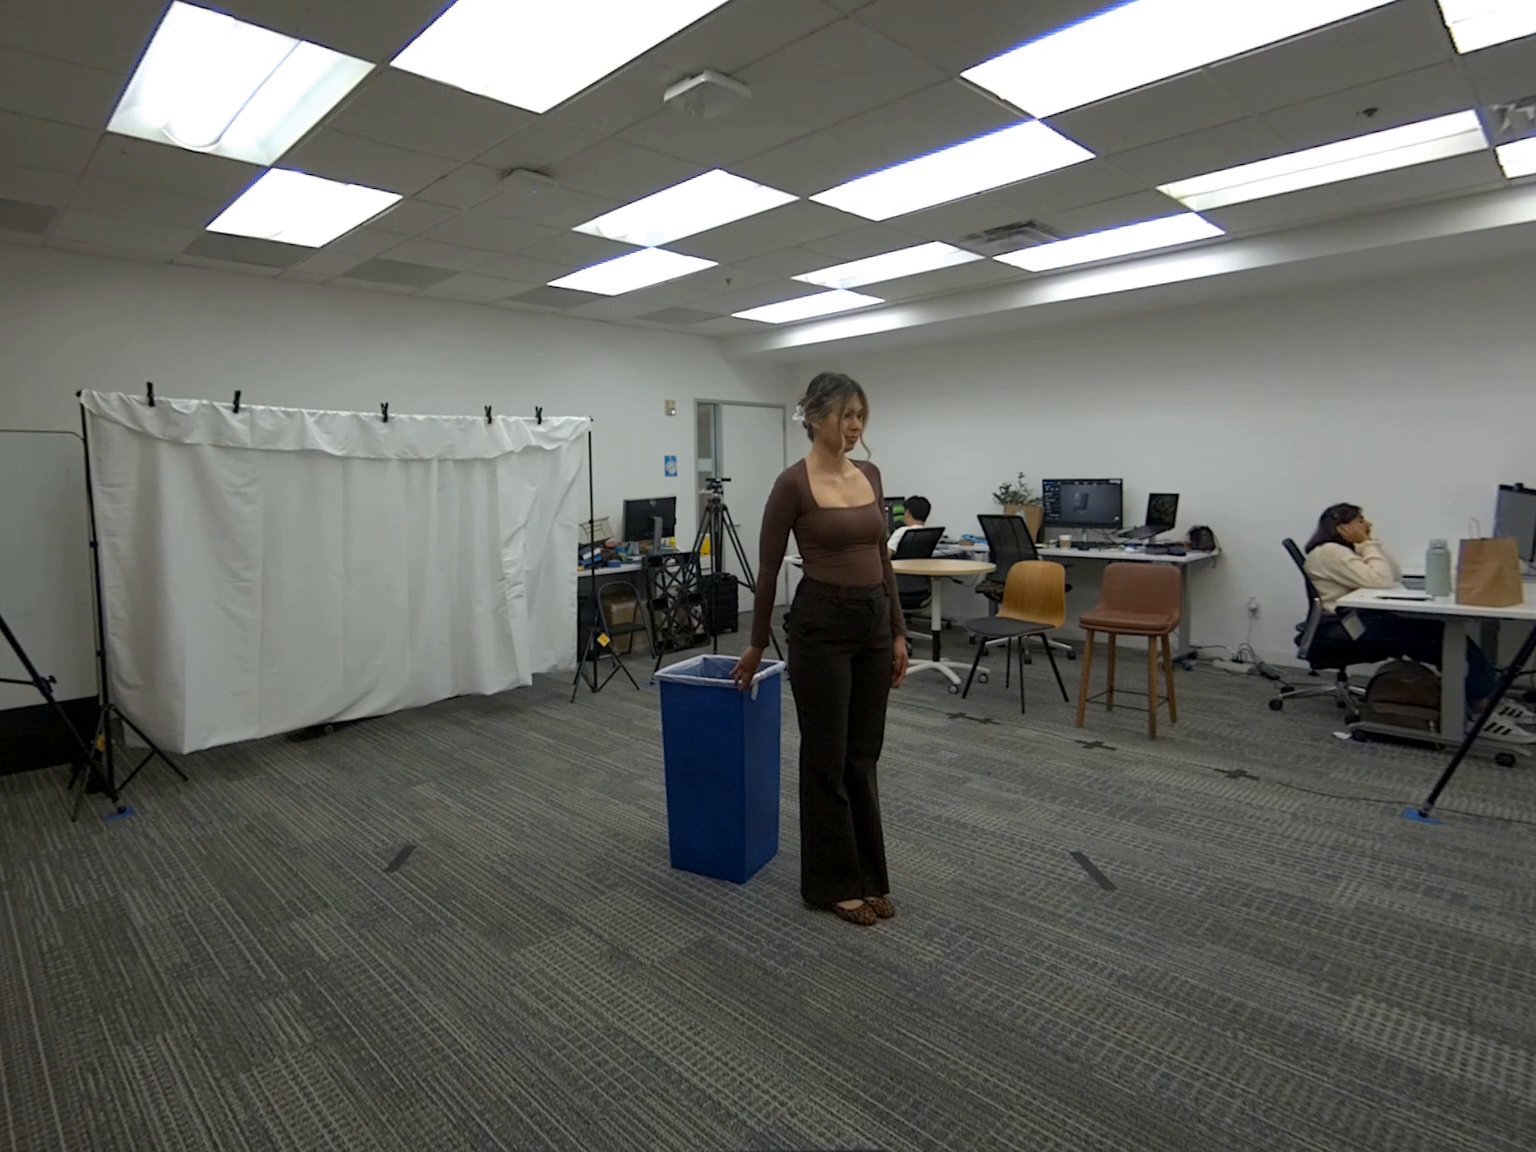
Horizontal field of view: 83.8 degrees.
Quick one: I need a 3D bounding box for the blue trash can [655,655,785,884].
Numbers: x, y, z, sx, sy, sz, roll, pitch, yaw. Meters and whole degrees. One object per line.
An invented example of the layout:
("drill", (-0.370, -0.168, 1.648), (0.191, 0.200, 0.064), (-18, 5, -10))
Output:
("blue trash can", (-0.157, 0.683, 3.115), (0.387, 0.712, 0.366), (1, 3, 26))
